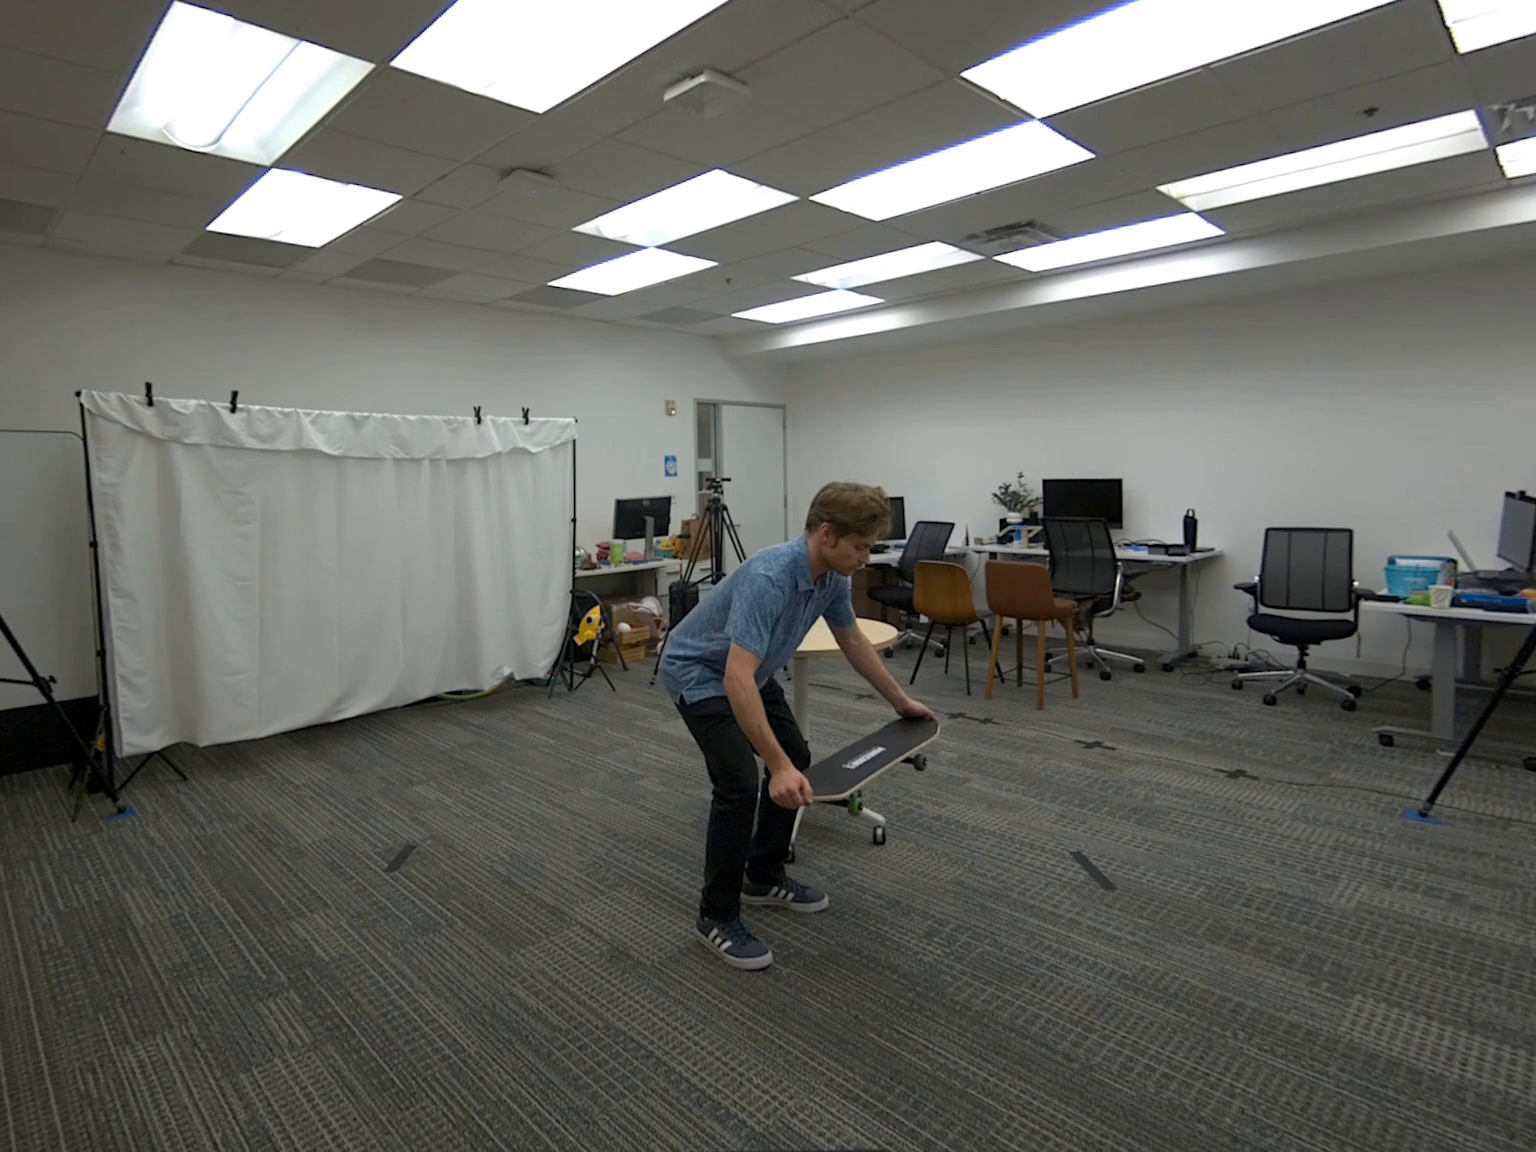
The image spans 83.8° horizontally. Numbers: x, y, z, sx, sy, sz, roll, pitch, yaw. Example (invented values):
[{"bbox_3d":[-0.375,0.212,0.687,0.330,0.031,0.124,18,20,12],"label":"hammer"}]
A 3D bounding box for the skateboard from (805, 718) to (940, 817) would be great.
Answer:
[{"bbox_3d":[0.294,0.563,2.488,0.199,0.110,0.768,2,9,35],"label":"skateboard"}]
